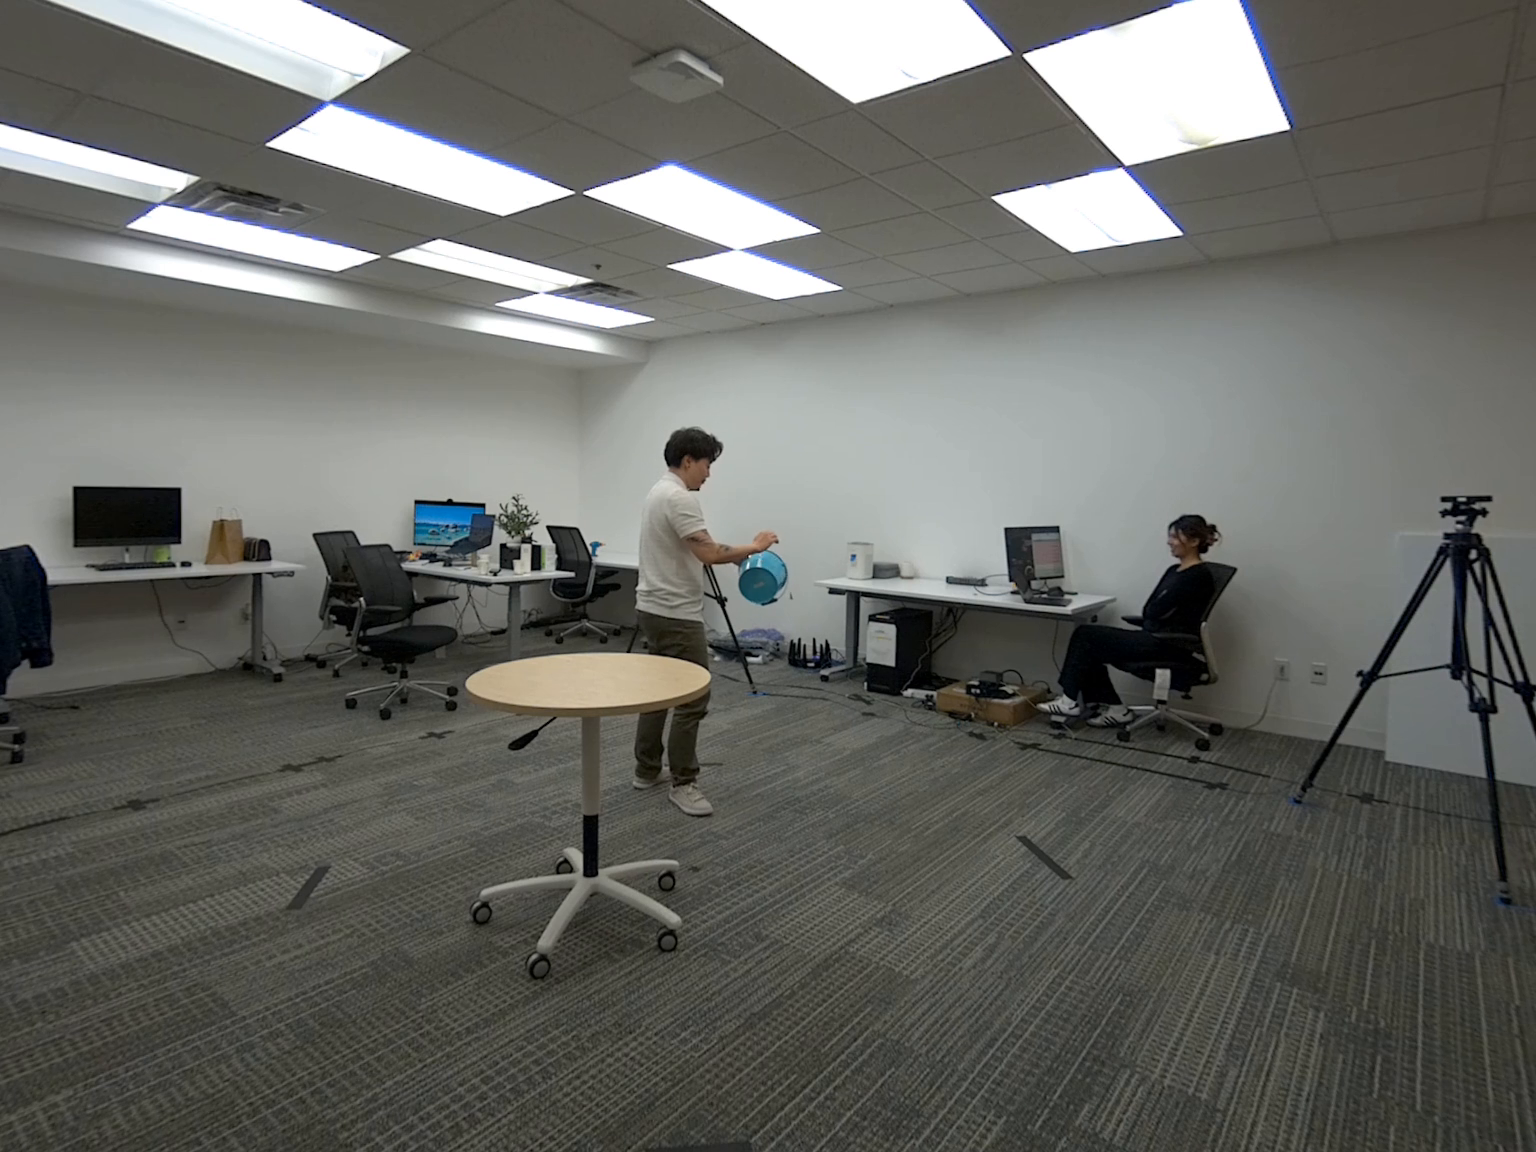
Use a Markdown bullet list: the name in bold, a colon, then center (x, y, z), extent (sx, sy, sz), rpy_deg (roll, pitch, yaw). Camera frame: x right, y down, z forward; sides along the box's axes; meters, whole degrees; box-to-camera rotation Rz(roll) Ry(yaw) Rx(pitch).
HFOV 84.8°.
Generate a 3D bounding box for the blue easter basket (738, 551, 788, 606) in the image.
- **blue easter basket**: center (-0.036, 0.013, 3.929), extent (0.246, 0.239, 0.157), rpy_deg (2, 19, 10)
